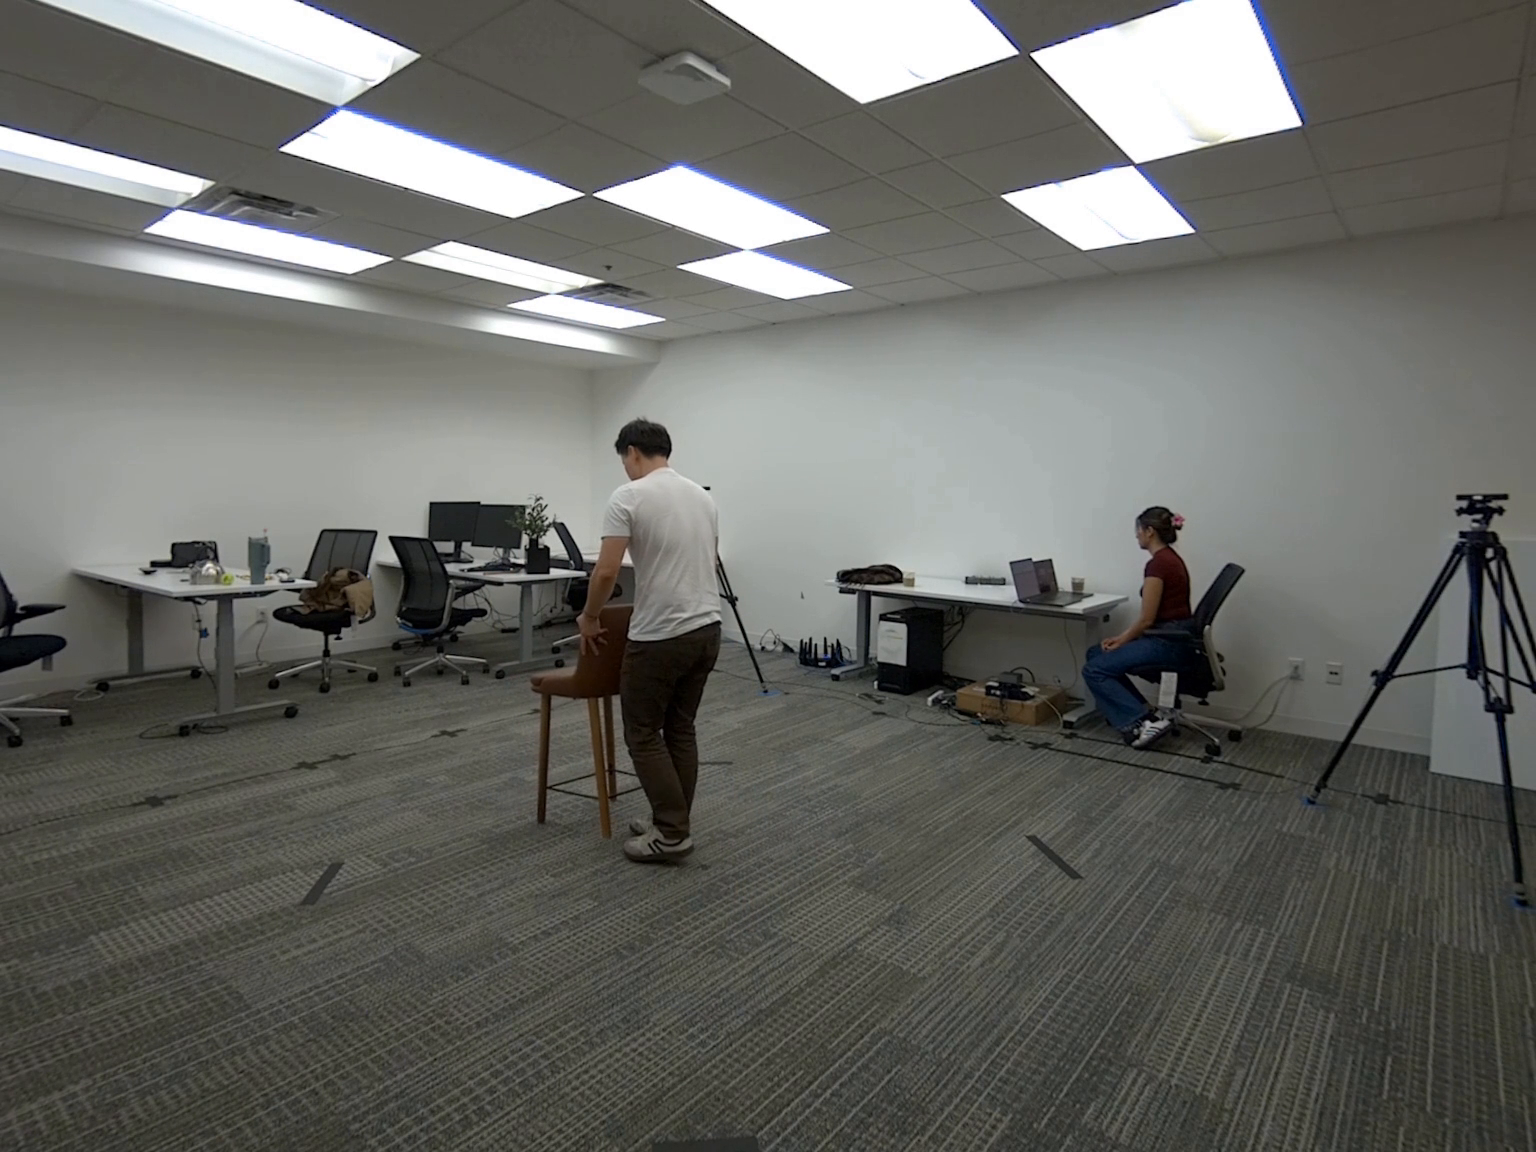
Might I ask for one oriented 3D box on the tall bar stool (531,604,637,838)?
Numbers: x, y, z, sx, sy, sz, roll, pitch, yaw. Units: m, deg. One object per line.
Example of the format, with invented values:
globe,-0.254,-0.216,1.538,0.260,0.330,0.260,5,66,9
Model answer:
tall bar stool,-0.702,0.557,3.508,0.482,0.890,0.443,-3,0,43
